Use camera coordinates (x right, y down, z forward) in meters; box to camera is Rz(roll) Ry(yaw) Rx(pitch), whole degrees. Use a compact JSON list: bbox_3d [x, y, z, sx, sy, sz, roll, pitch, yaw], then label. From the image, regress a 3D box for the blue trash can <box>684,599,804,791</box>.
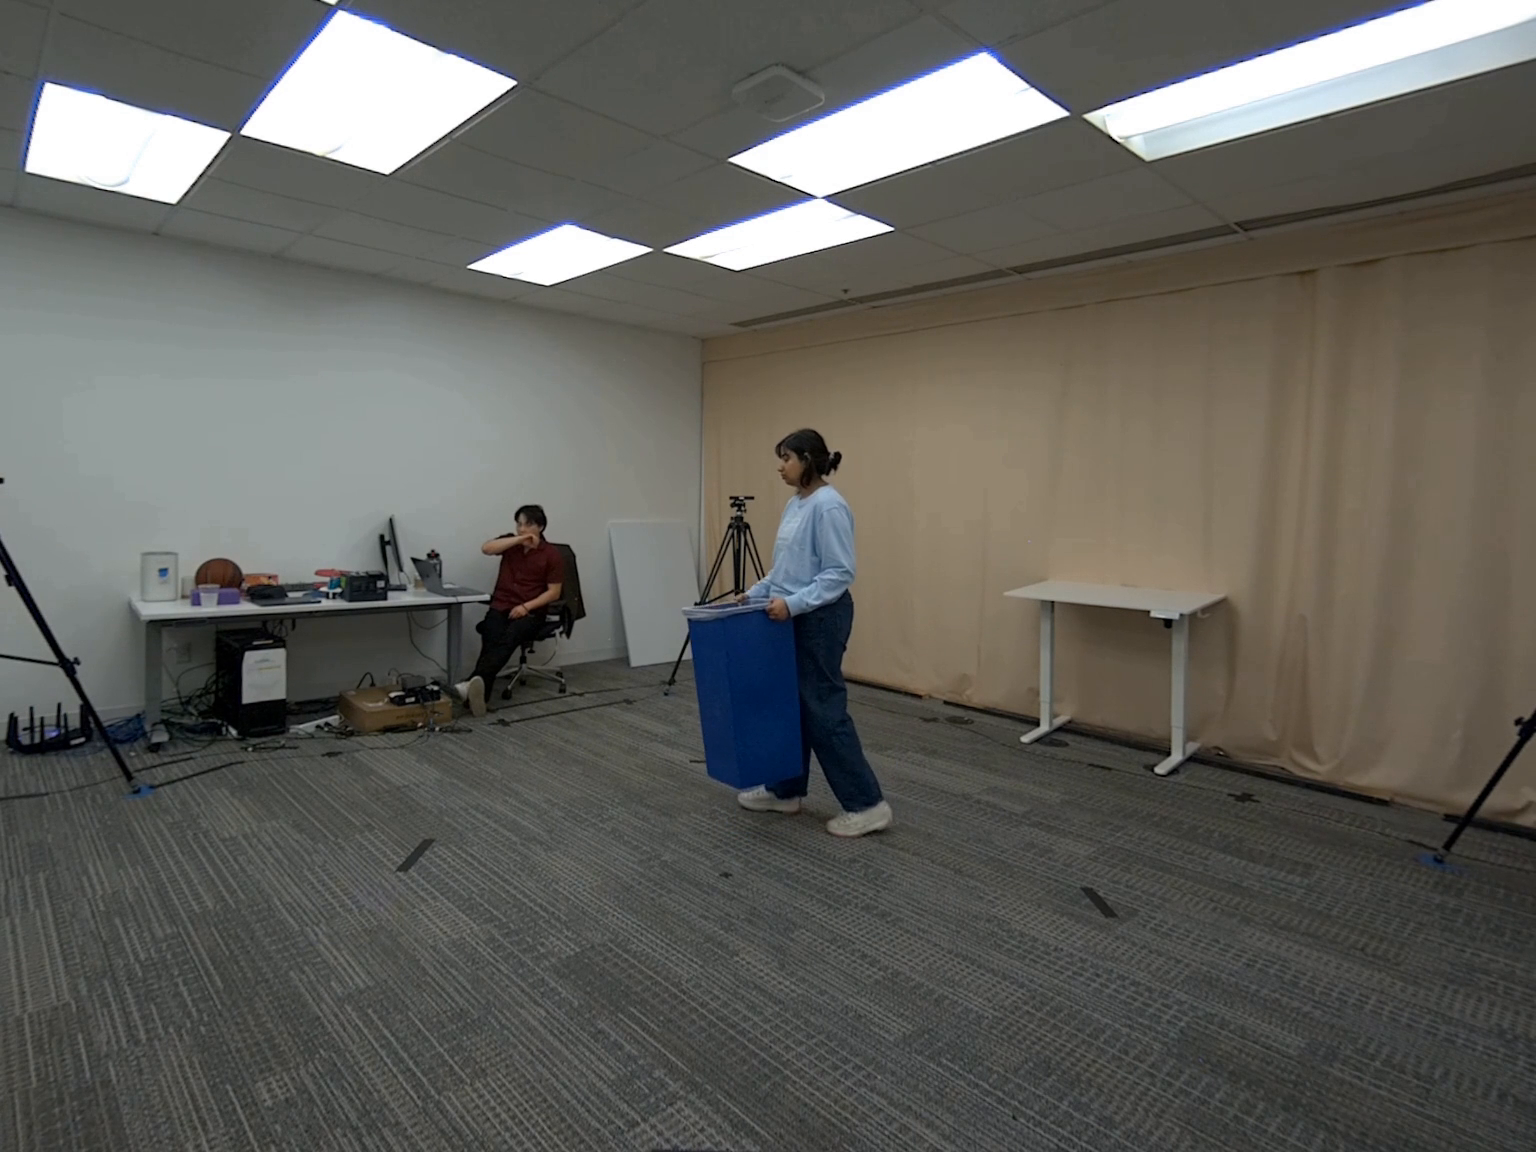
[{"bbox_3d":[-0.104,0.476,3.487,0.367,0.713,0.385,-5,0,-29],"label":"blue trash can"}]
